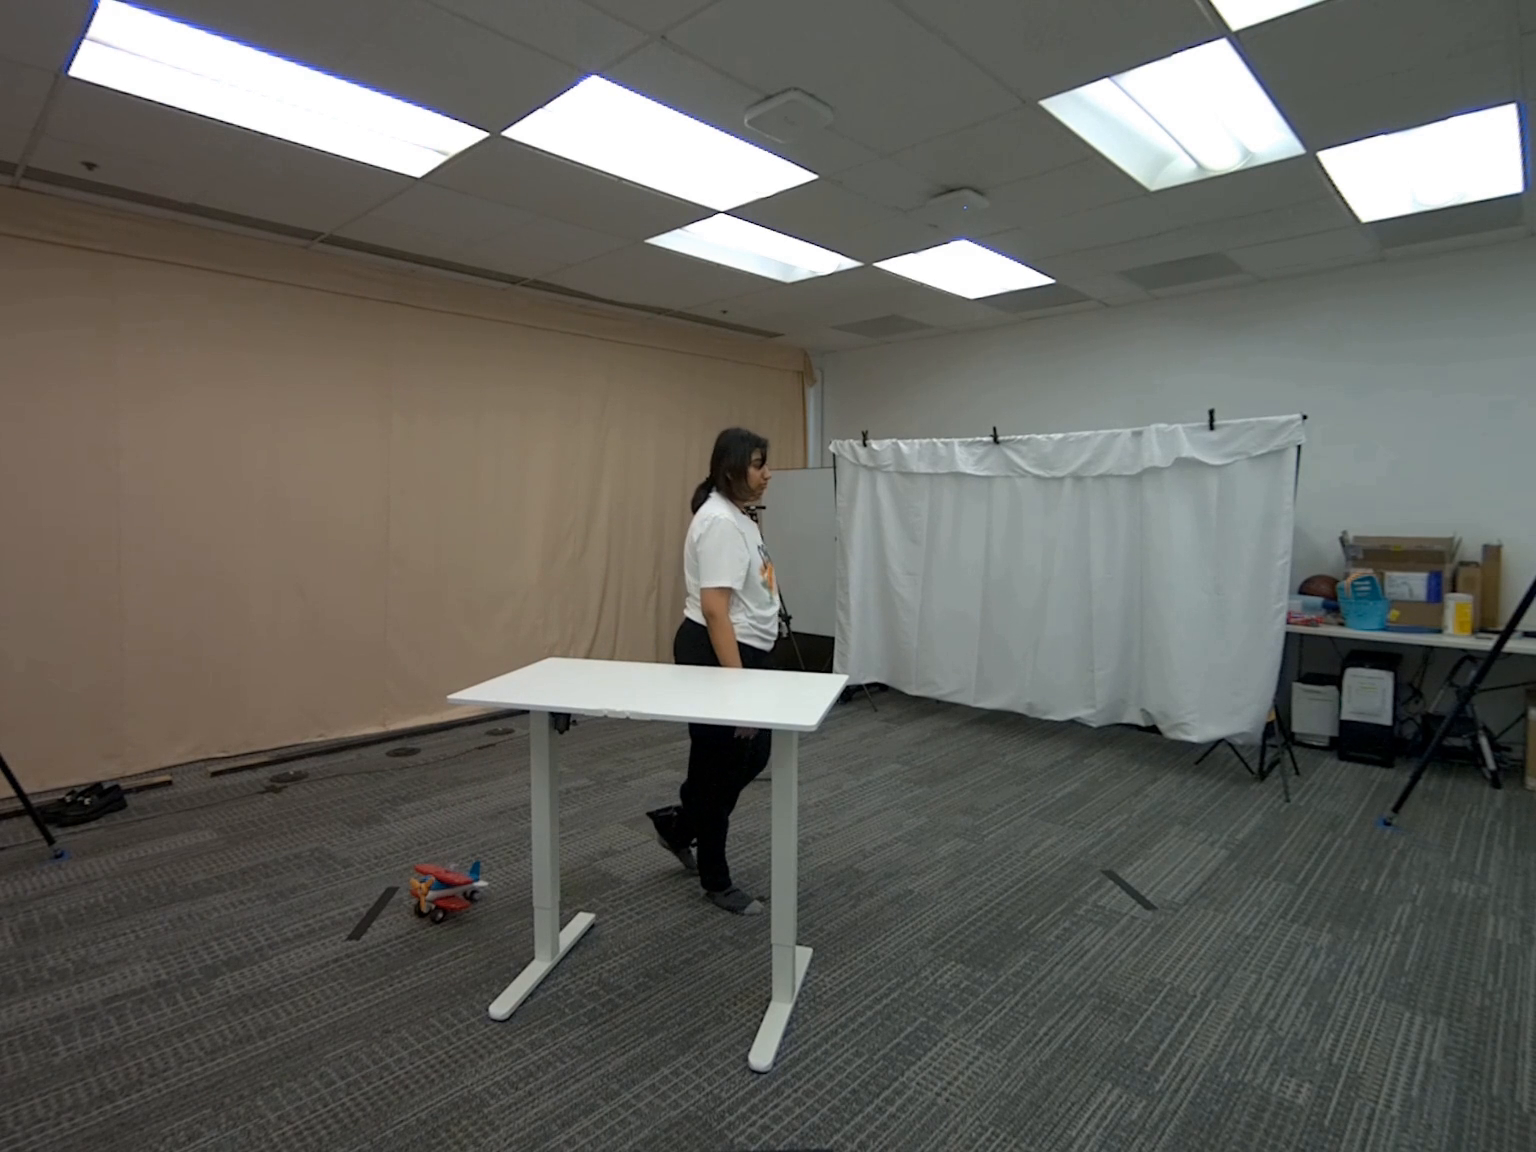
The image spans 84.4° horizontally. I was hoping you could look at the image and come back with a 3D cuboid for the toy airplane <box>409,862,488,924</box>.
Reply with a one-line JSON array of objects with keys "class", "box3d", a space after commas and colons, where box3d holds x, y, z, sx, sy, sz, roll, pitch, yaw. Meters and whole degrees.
[{"class": "toy airplane", "box3d": [-1.126, 1.092, 2.924, 0.252, 0.156, 0.259, -1, 5, 3]}]
